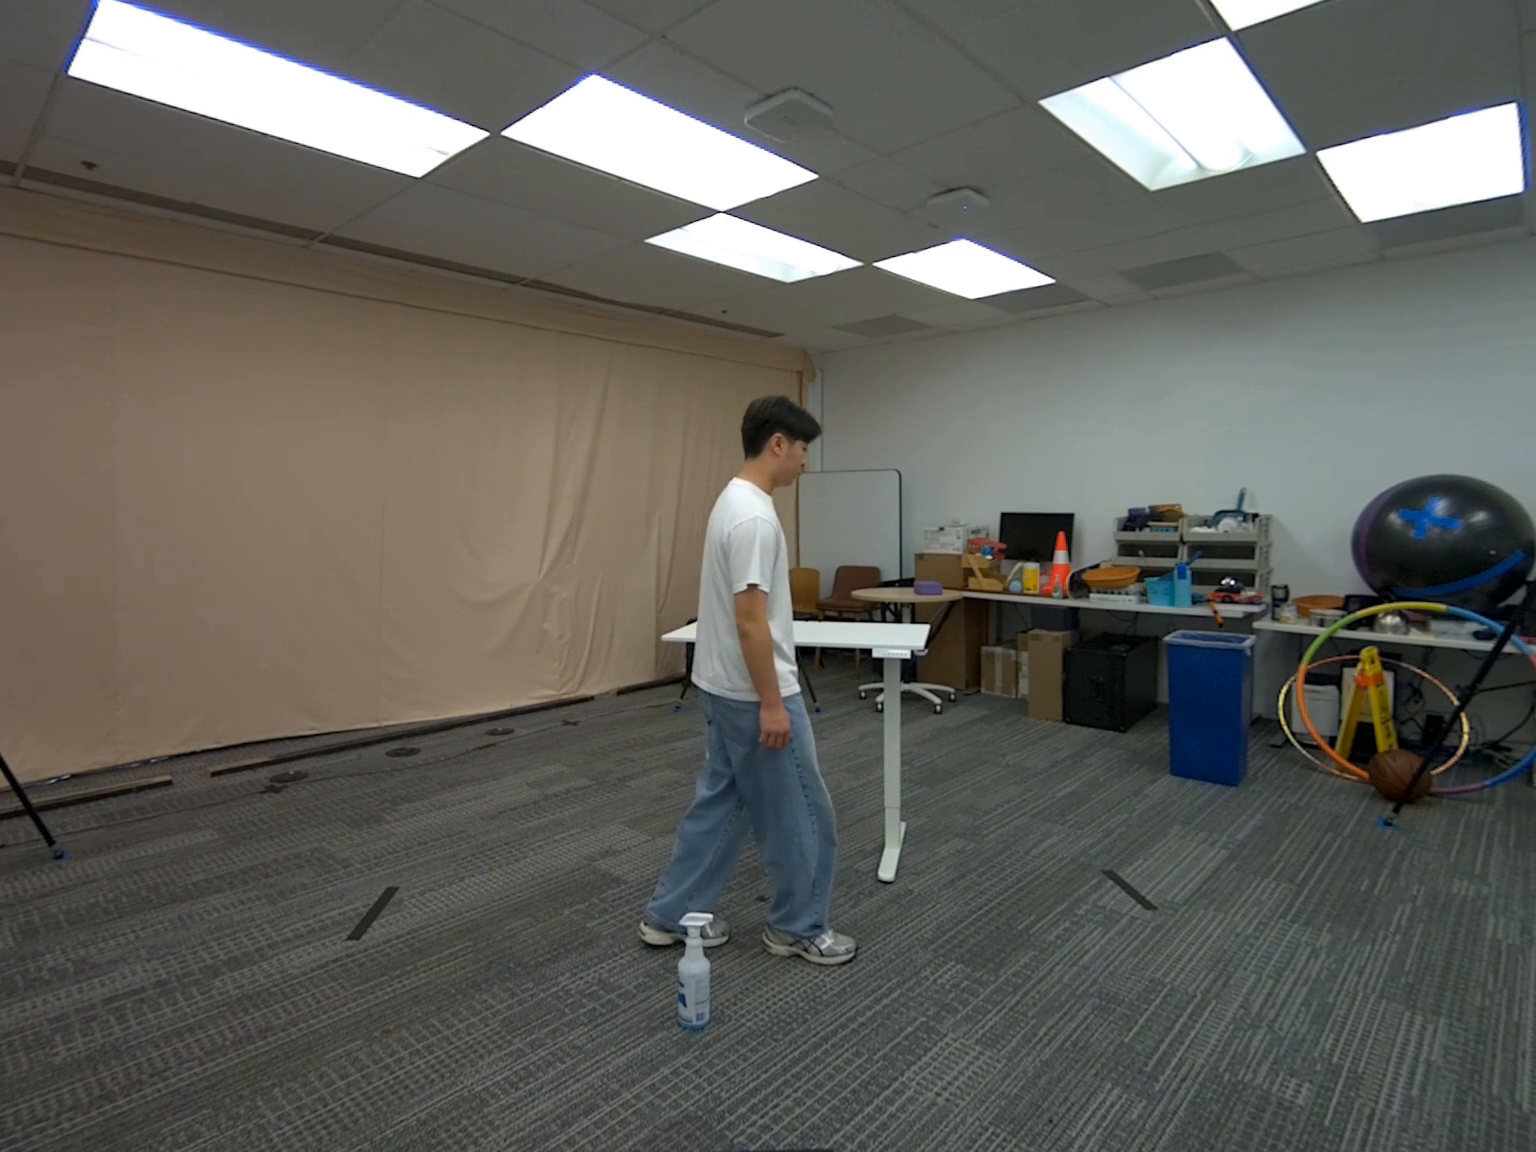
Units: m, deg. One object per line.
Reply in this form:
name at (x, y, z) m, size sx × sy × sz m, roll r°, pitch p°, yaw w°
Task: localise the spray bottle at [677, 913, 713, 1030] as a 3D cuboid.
spray bottle at (-0.193, 1.058, 2.281) m, size 0.093 × 0.297 × 0.084 m, roll 3°, pitch 3°, yaw 33°
